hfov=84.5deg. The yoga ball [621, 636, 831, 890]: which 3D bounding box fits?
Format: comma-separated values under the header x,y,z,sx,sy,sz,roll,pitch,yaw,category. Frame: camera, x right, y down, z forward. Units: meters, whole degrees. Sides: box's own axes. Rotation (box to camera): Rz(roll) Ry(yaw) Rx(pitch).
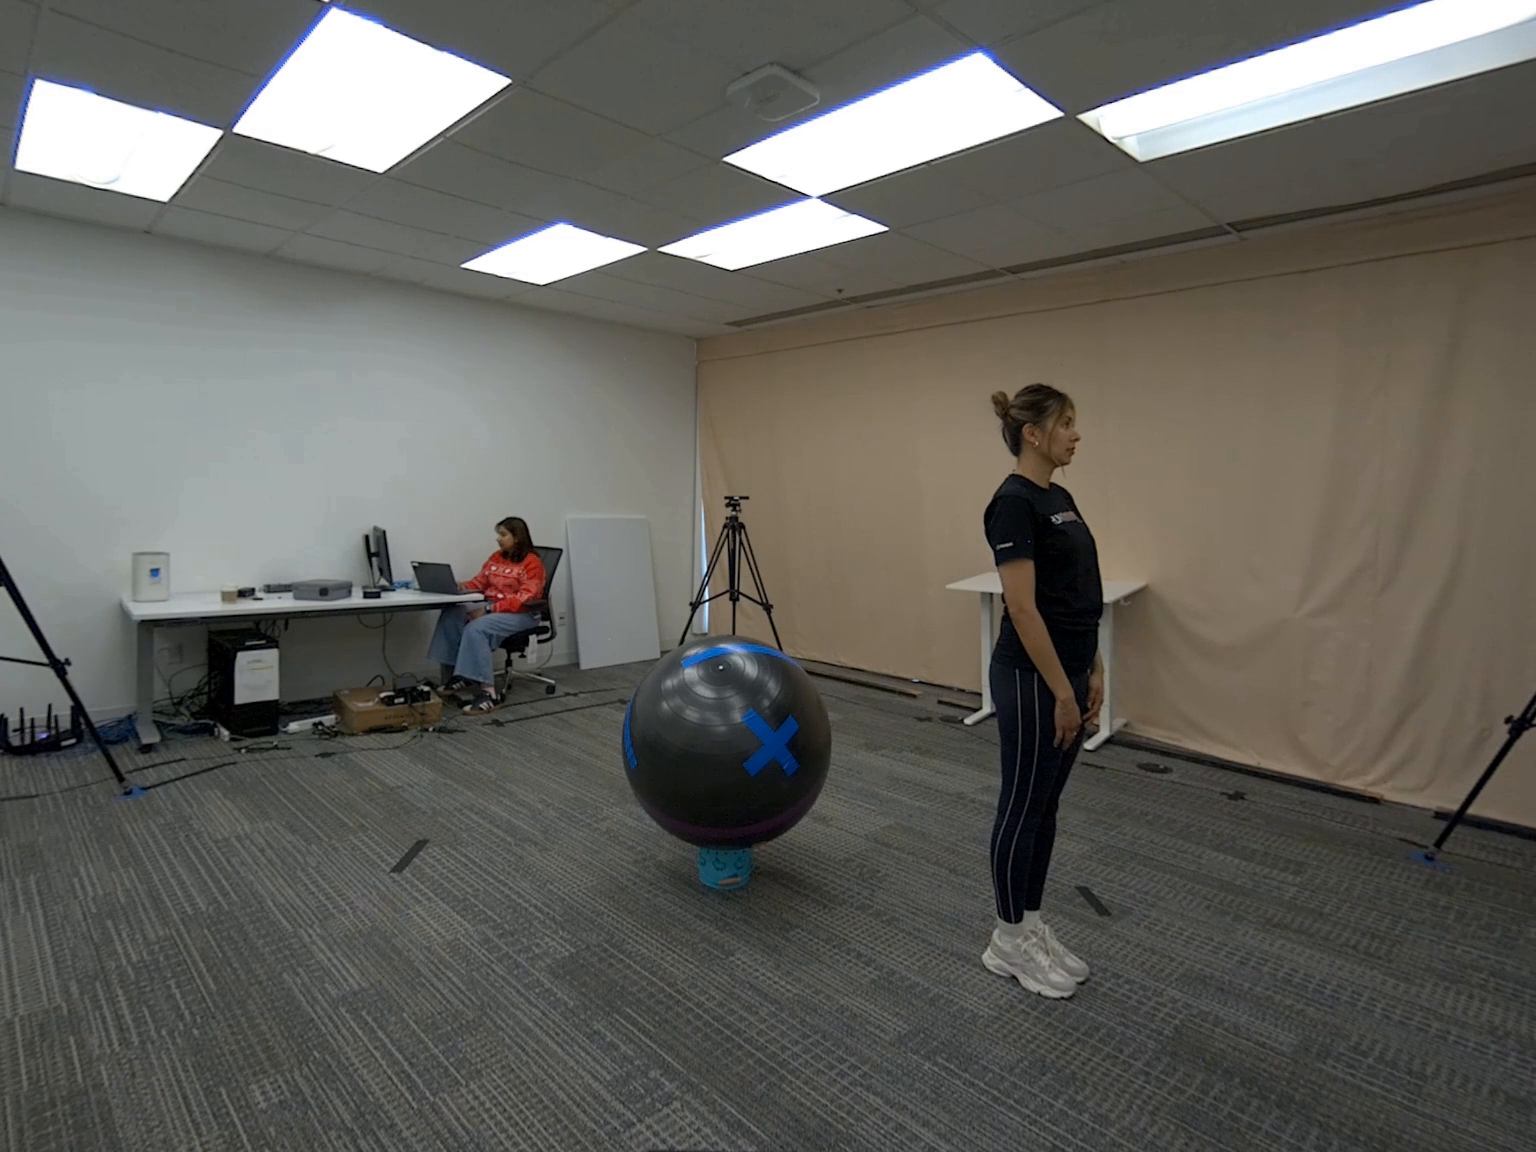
x,y,z,sx,sy,sz,roll,pitch,yaw,category
-0.154,0.599,3.050,0.757,0.756,0.761,1,4,-1,yoga ball
